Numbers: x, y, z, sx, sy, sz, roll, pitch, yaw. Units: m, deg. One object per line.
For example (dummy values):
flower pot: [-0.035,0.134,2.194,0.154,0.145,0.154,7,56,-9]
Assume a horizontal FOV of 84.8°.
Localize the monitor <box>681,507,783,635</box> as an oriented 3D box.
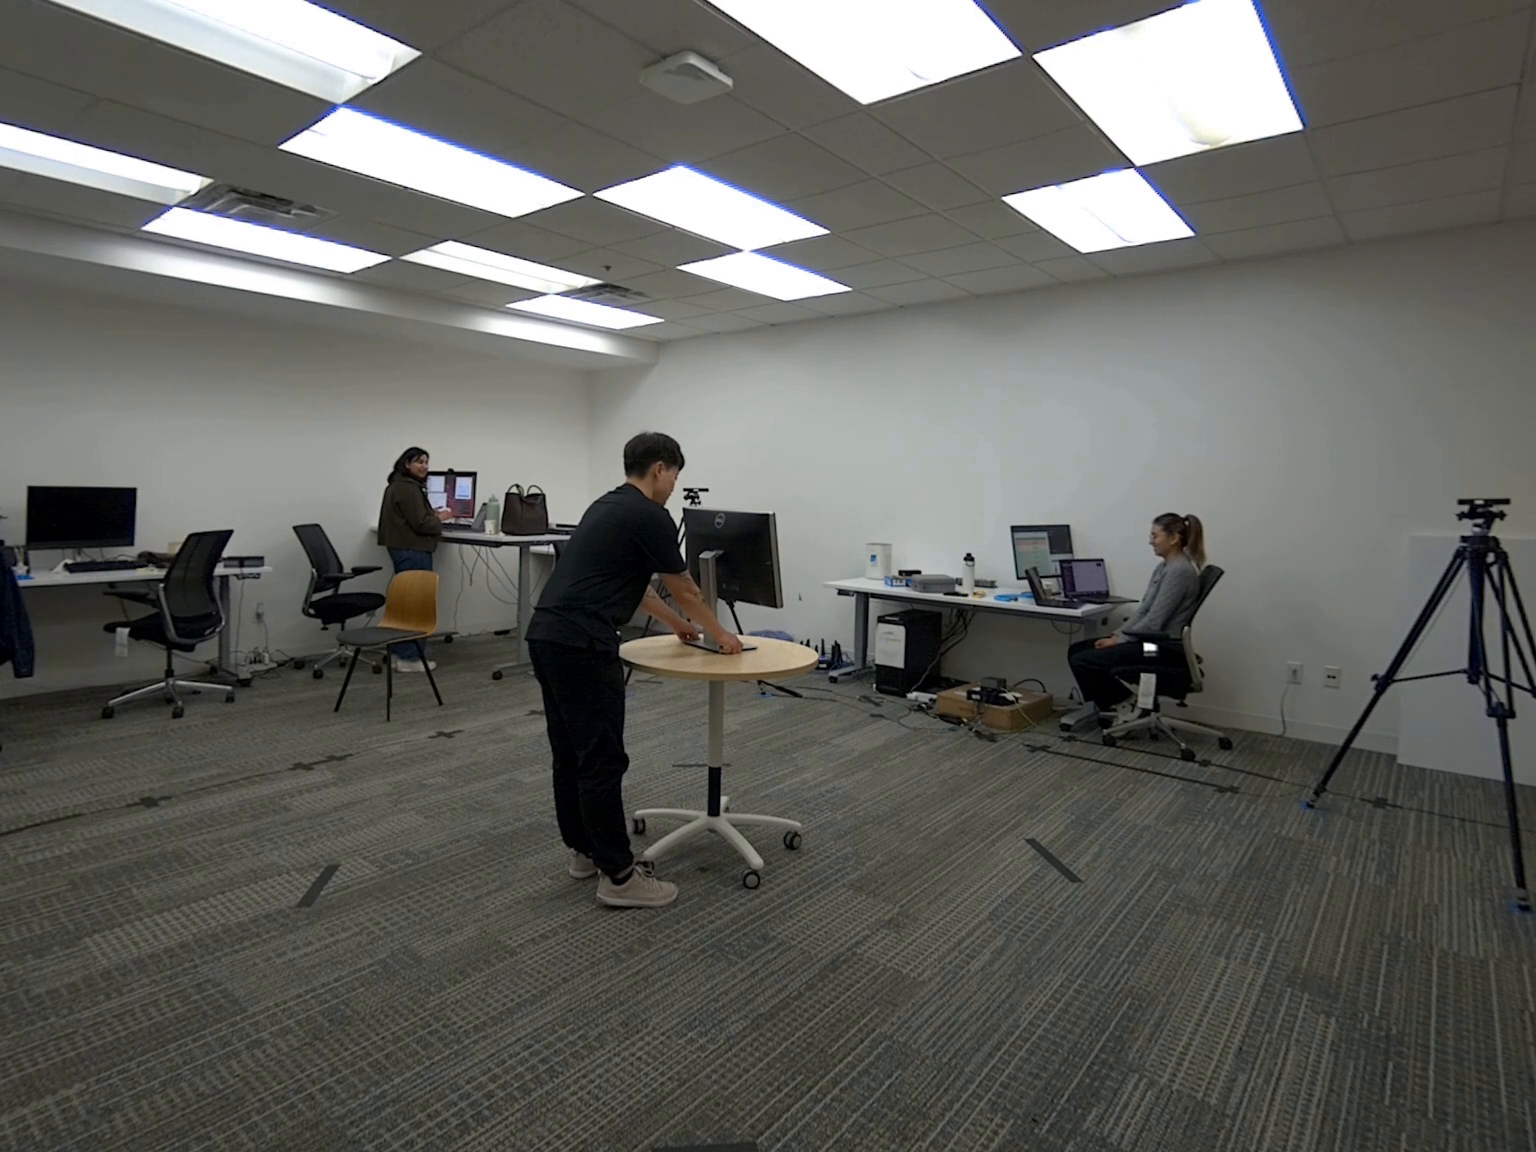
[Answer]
monitor: [-0.194,0.008,3.329,0.181,0.521,0.558,0,4,-41]
